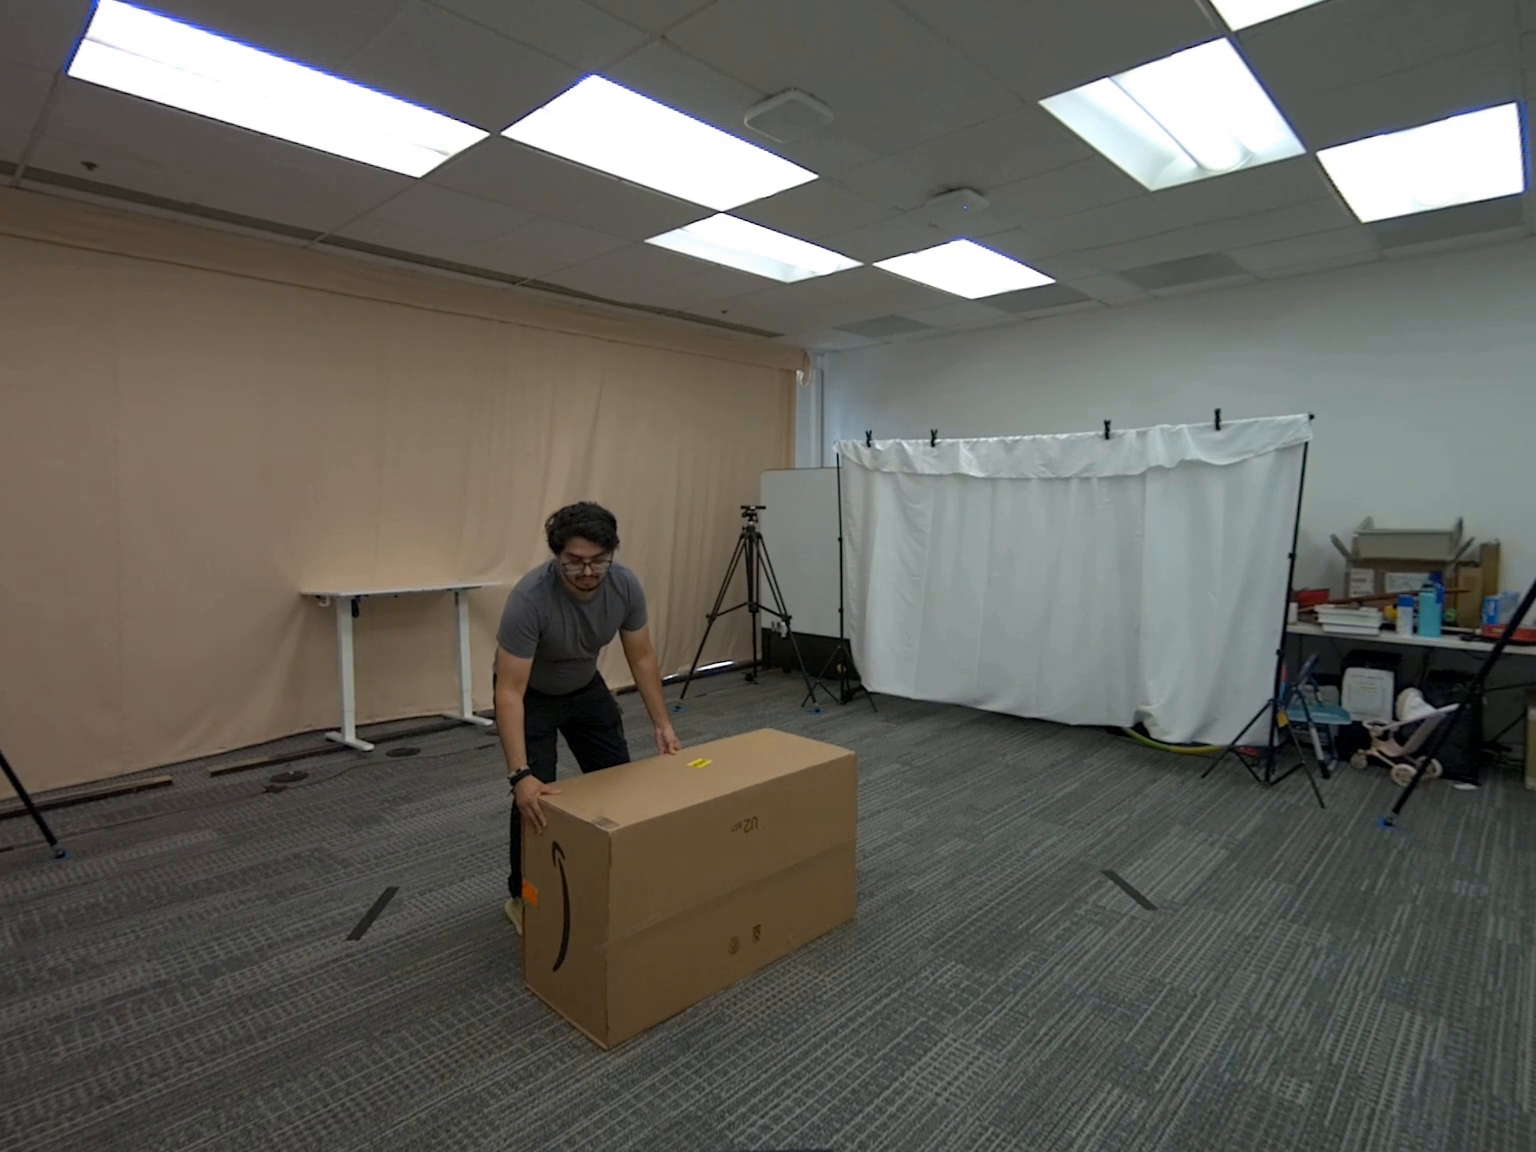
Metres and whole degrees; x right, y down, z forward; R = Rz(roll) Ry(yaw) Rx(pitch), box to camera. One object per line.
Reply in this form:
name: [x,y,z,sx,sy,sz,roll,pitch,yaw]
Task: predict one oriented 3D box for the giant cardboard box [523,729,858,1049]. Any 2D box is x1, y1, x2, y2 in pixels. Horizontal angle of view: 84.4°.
giant cardboard box: [-0.201,0.890,2.628,0.994,0.576,0.440,-4,6,-45]
